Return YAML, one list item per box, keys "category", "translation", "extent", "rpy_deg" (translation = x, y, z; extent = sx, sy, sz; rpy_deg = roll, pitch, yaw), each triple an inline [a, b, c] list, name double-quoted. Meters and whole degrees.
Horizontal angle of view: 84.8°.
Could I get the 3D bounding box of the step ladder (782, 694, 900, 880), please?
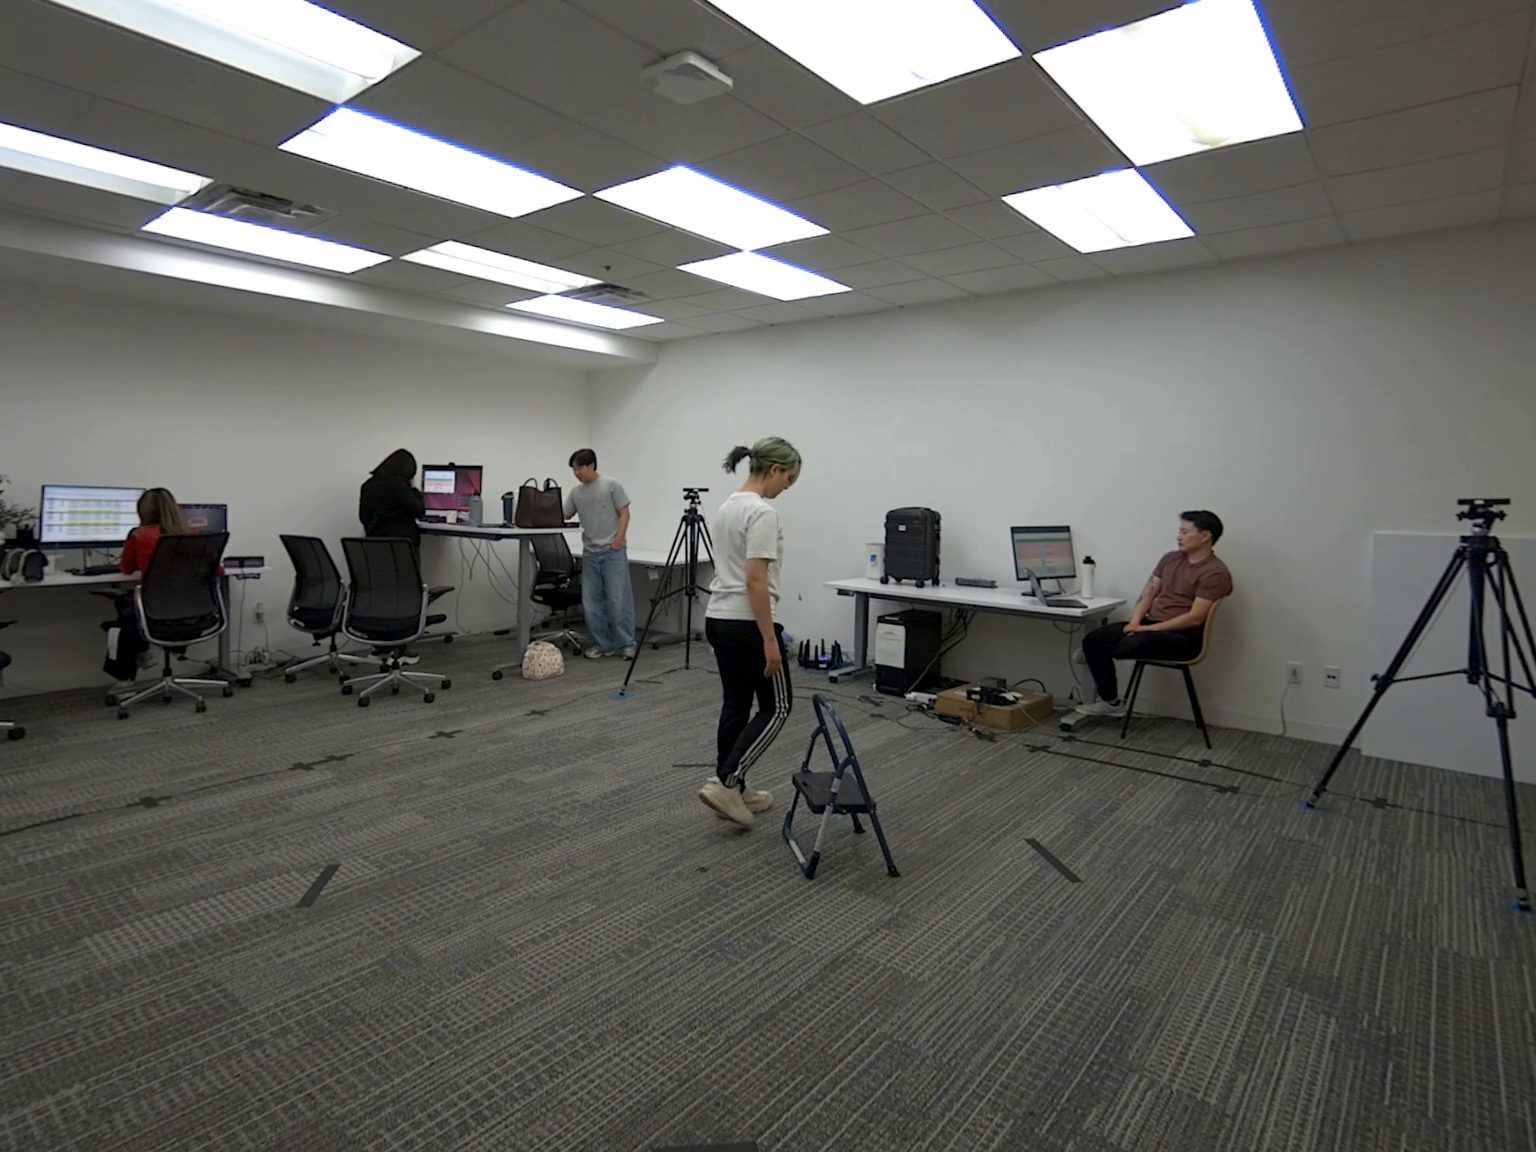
- category: "step ladder"
  translation: [0.268, 0.765, 3.252]
  extent: [0.345, 0.604, 0.437]
  rpy_deg: [1, 3, -12]
